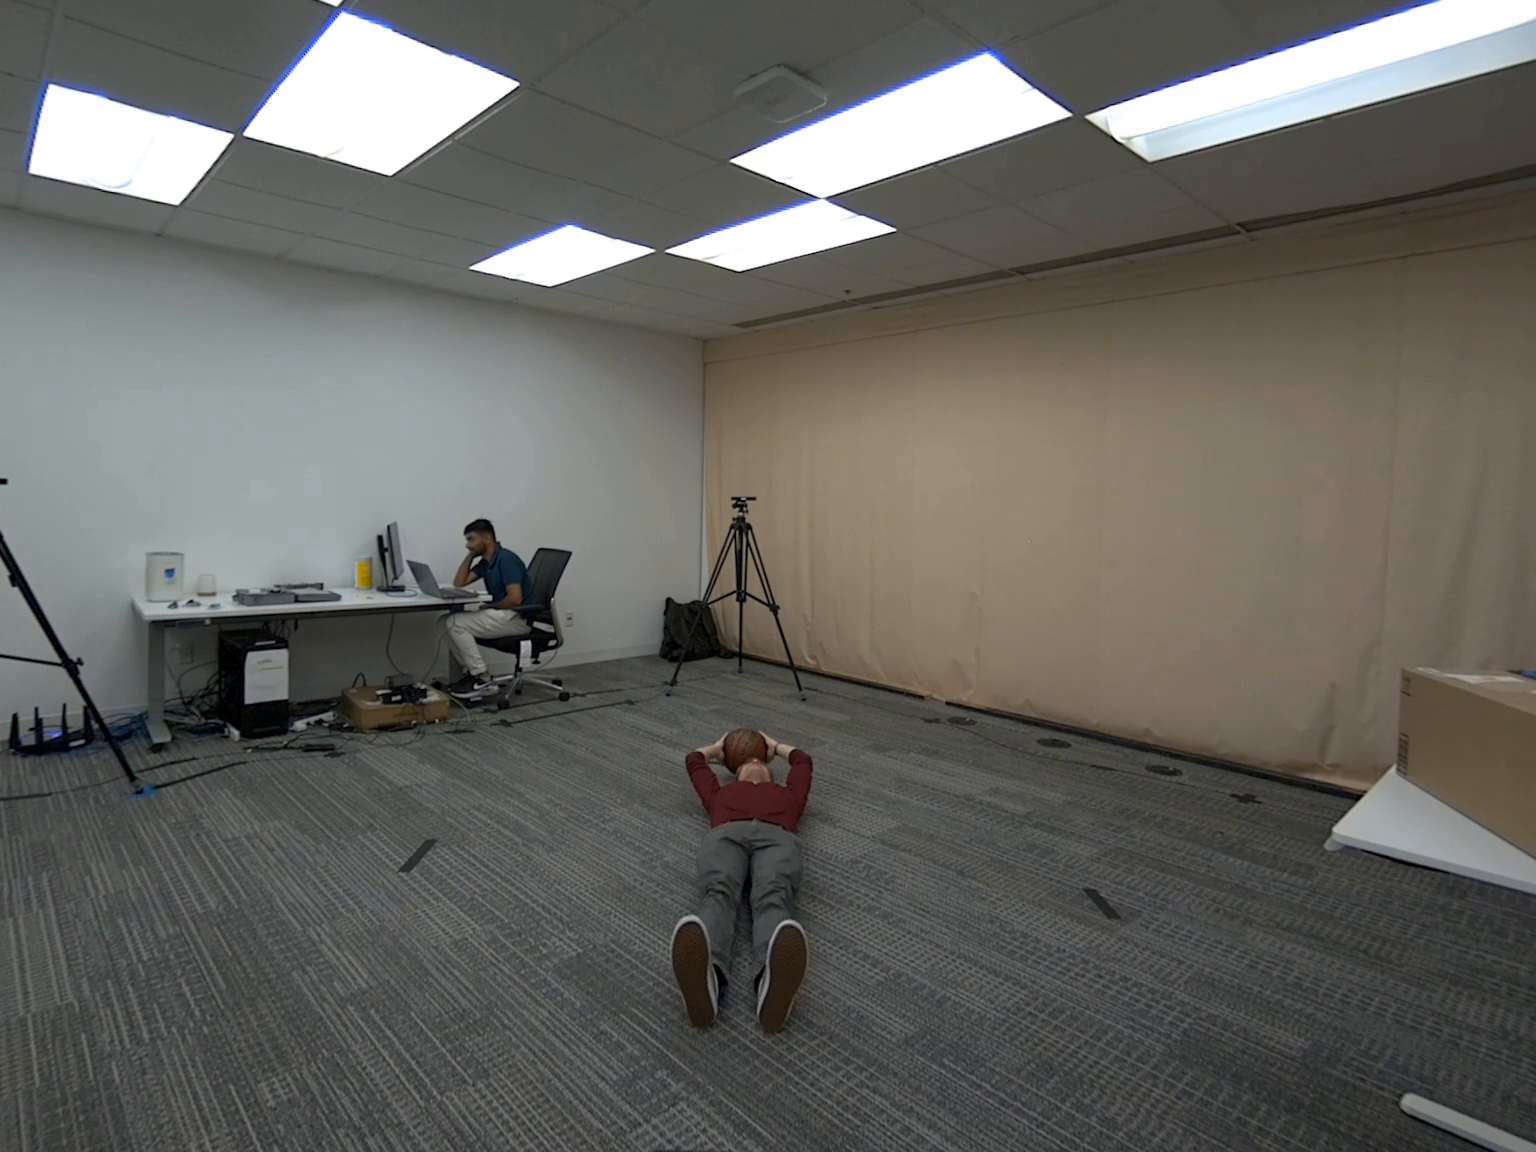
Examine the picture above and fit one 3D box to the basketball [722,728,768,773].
[{"bbox_3d":[-0.134,0.869,4.216,0.236,0.235,0.237,1,4,-1],"label":"basketball"}]
